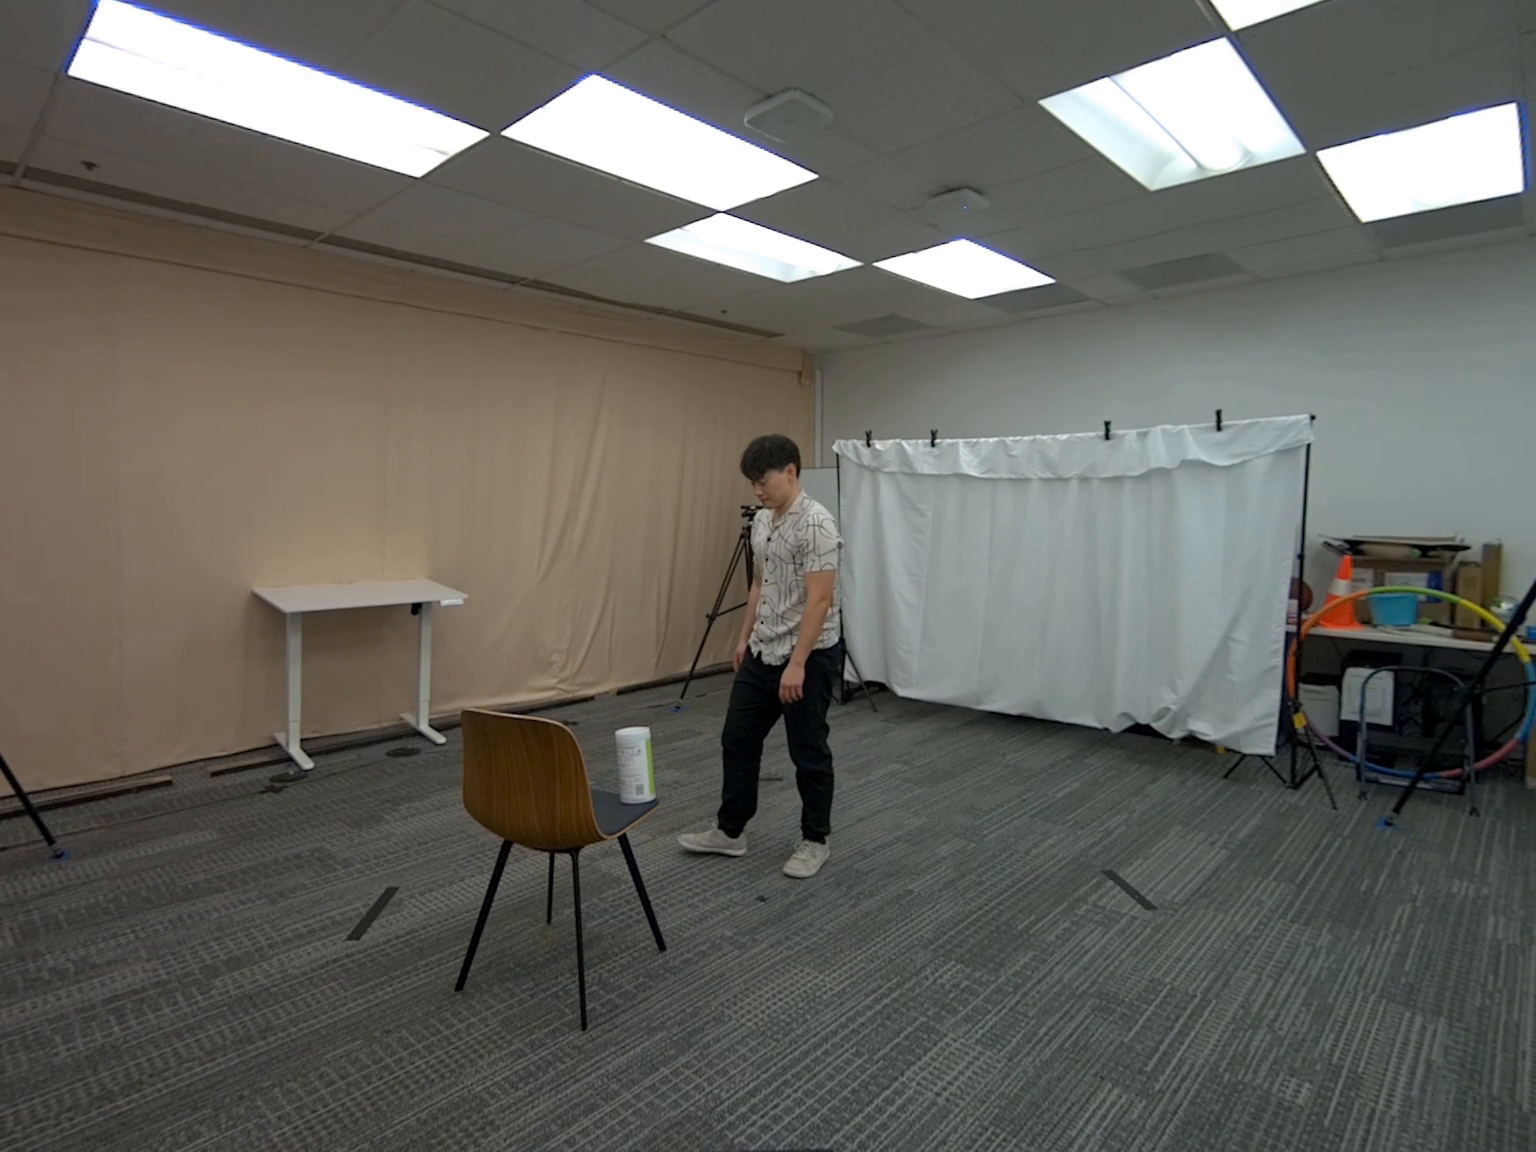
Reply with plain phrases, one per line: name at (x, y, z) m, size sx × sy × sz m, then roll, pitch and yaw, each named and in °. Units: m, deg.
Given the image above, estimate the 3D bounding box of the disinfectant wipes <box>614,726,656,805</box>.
disinfectant wipes at (-0.410, 0.584, 2.585) m, size 0.117 × 0.218 × 0.117 m, roll -4°, pitch -3°, yaw -2°
